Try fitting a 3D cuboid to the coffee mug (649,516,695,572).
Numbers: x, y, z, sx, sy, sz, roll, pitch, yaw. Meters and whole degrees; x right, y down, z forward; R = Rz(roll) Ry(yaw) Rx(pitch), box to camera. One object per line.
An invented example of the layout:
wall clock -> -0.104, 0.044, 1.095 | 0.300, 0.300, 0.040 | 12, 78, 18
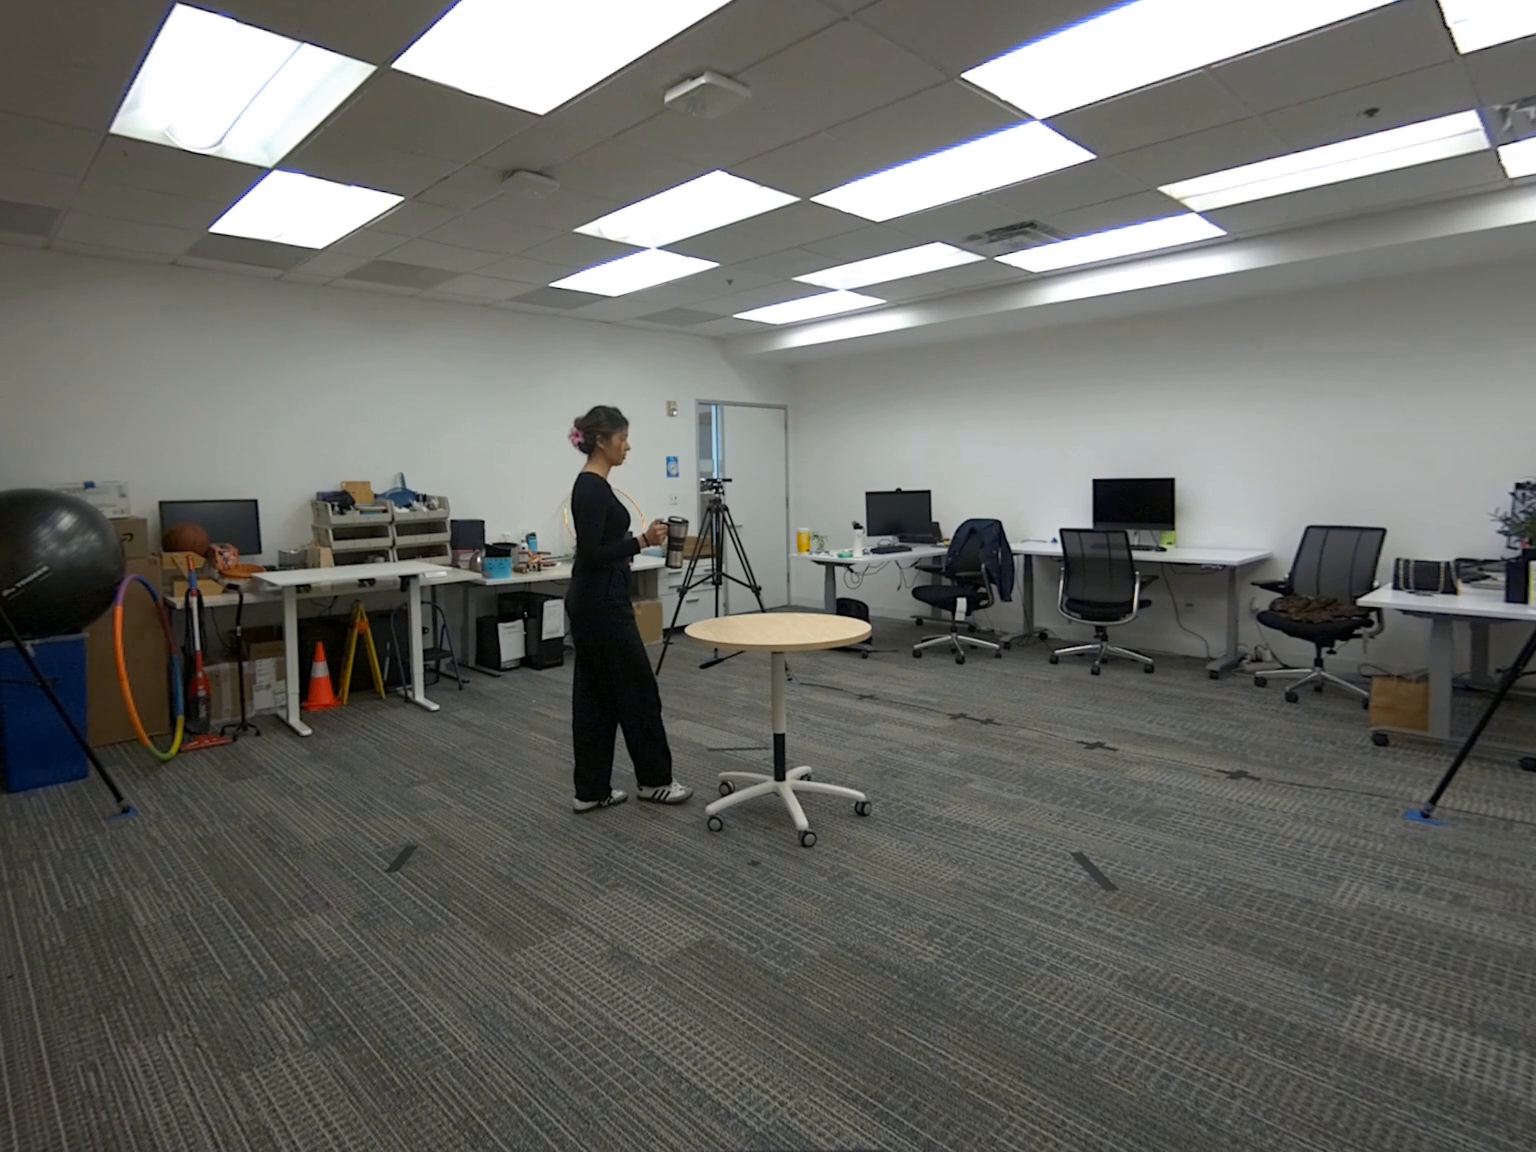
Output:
coffee mug -> -0.389, -0.132, 3.460 | 0.118, 0.201, 0.091 | 3, 14, -36
